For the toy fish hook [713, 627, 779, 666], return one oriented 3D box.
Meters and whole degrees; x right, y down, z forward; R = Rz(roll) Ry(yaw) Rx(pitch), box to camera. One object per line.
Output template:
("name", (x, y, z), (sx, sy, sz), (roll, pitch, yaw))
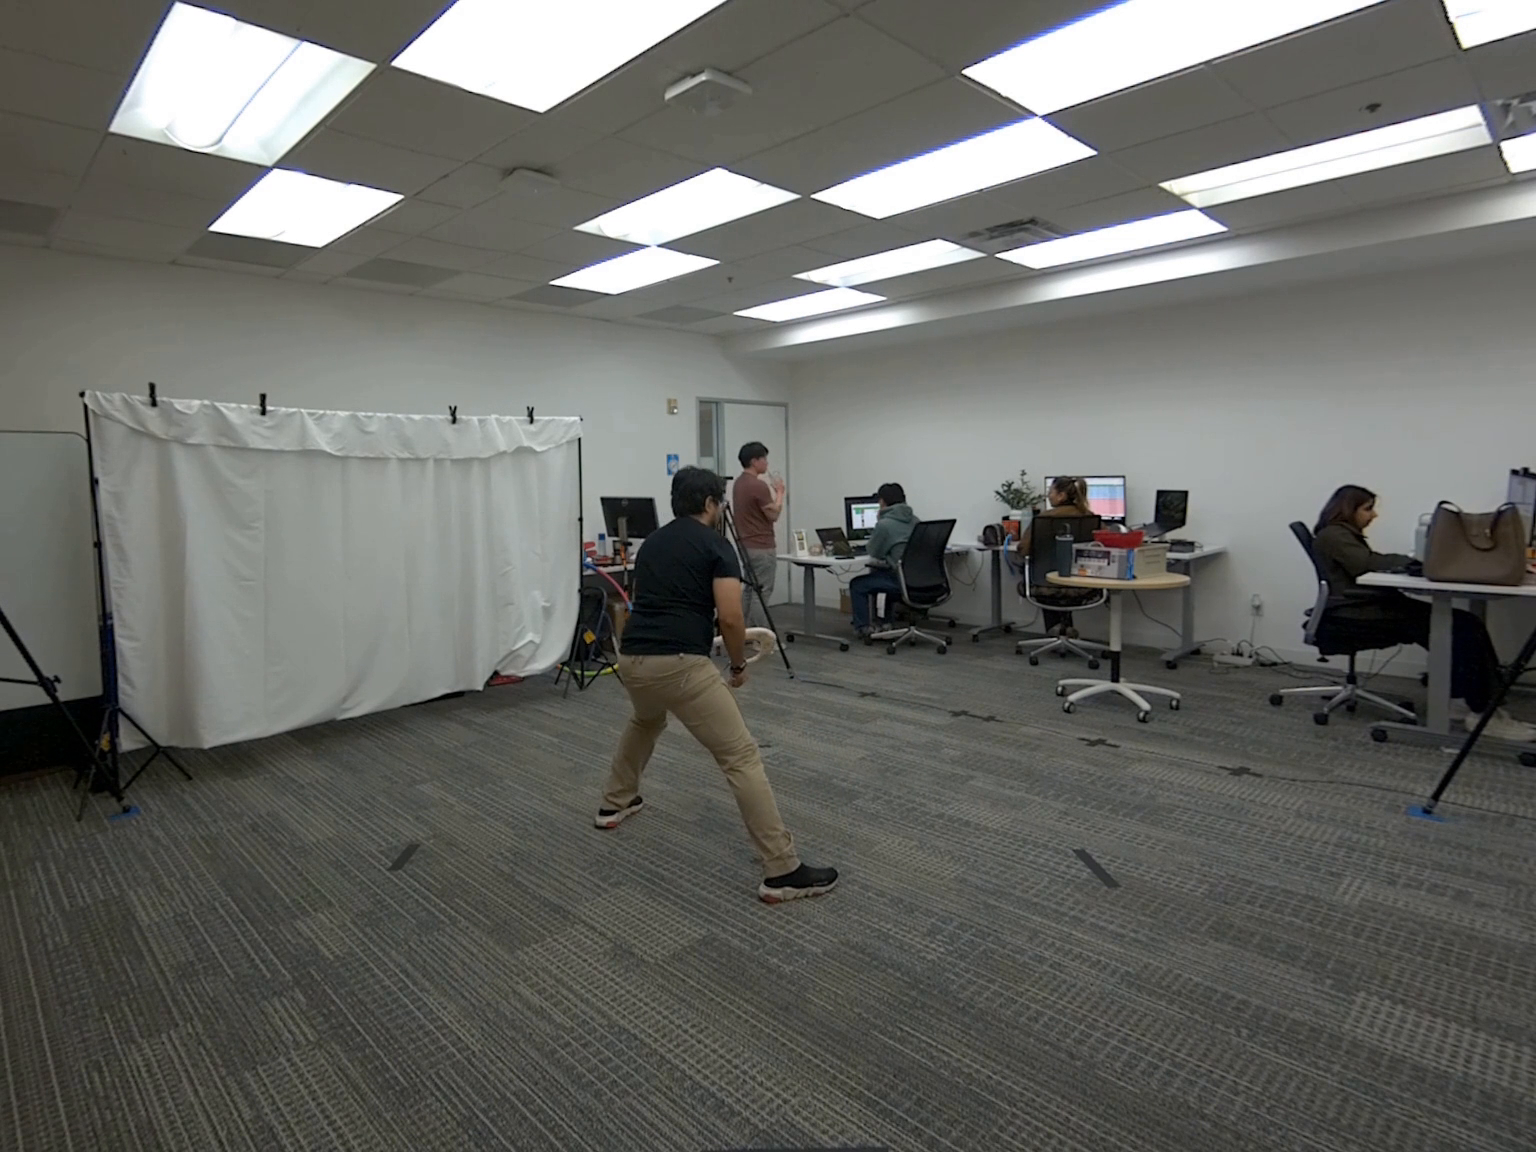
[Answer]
("toy fish hook", (-0.201, 0.333, 3.761), (0.499, 0.220, 0.050), (-5, 34, -18))
